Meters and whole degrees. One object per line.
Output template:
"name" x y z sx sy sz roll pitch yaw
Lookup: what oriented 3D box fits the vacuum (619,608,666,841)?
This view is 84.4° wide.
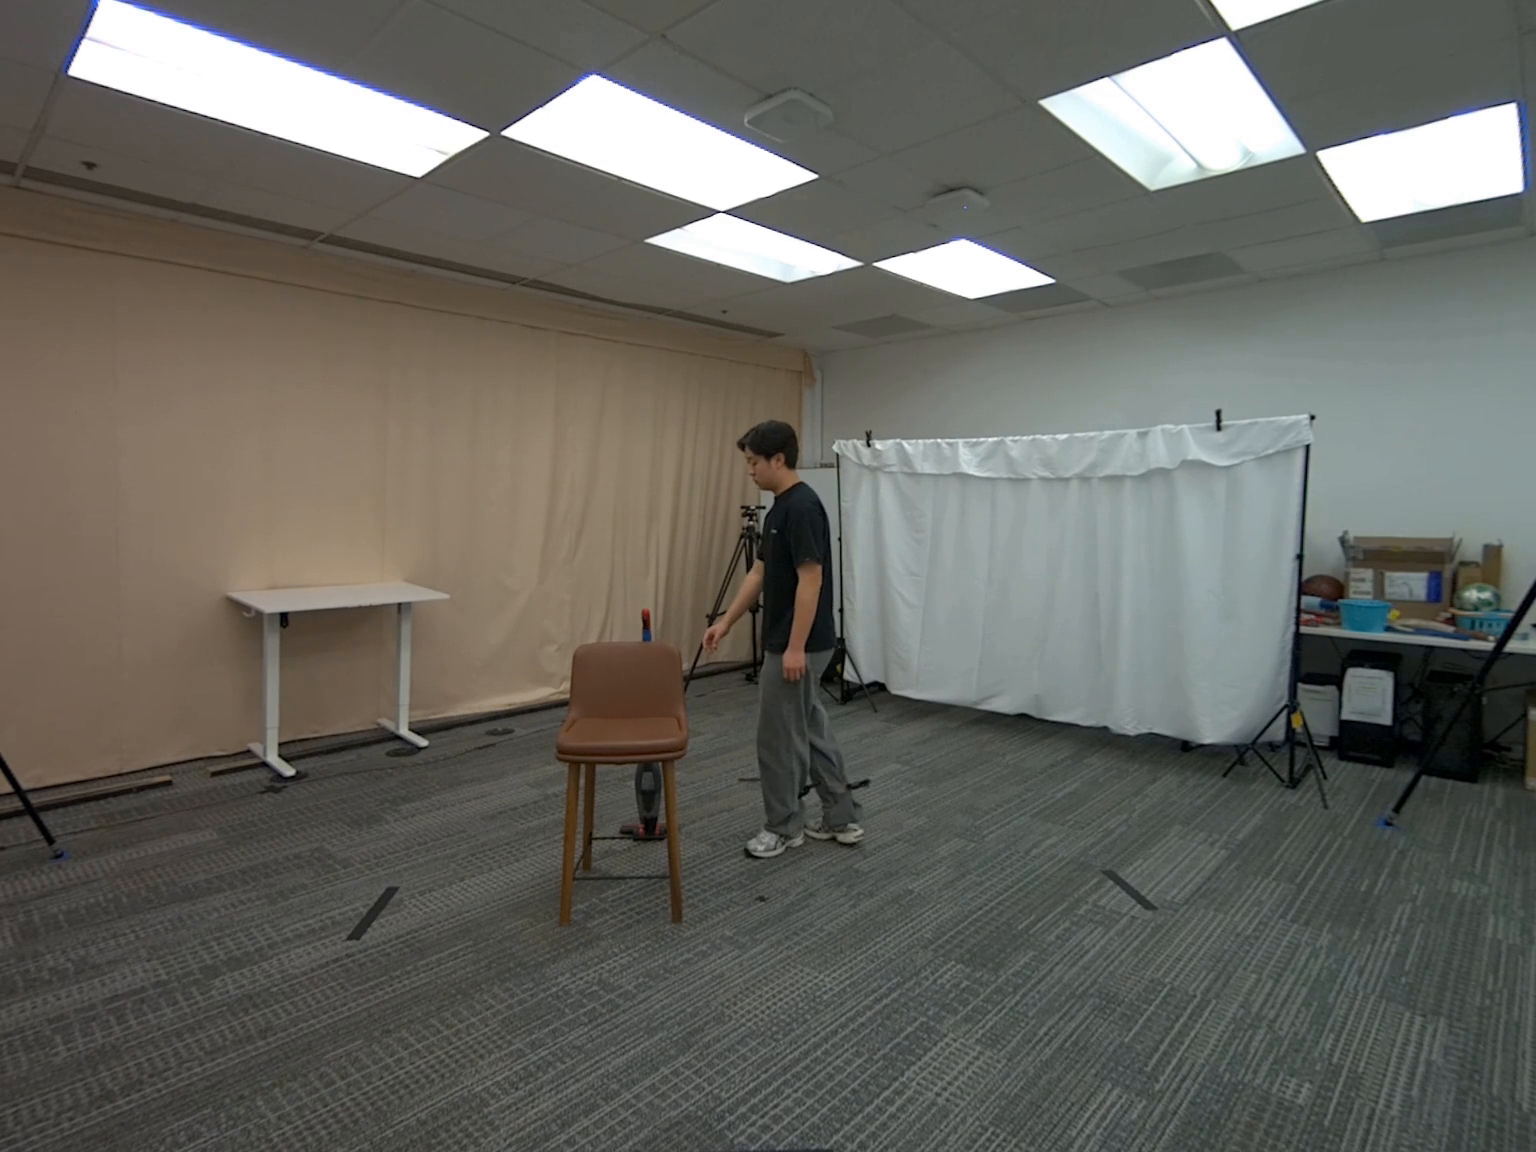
"vacuum" -0.483 0.613 3.399 0.250 1.038 0.147 -1 20 -11
